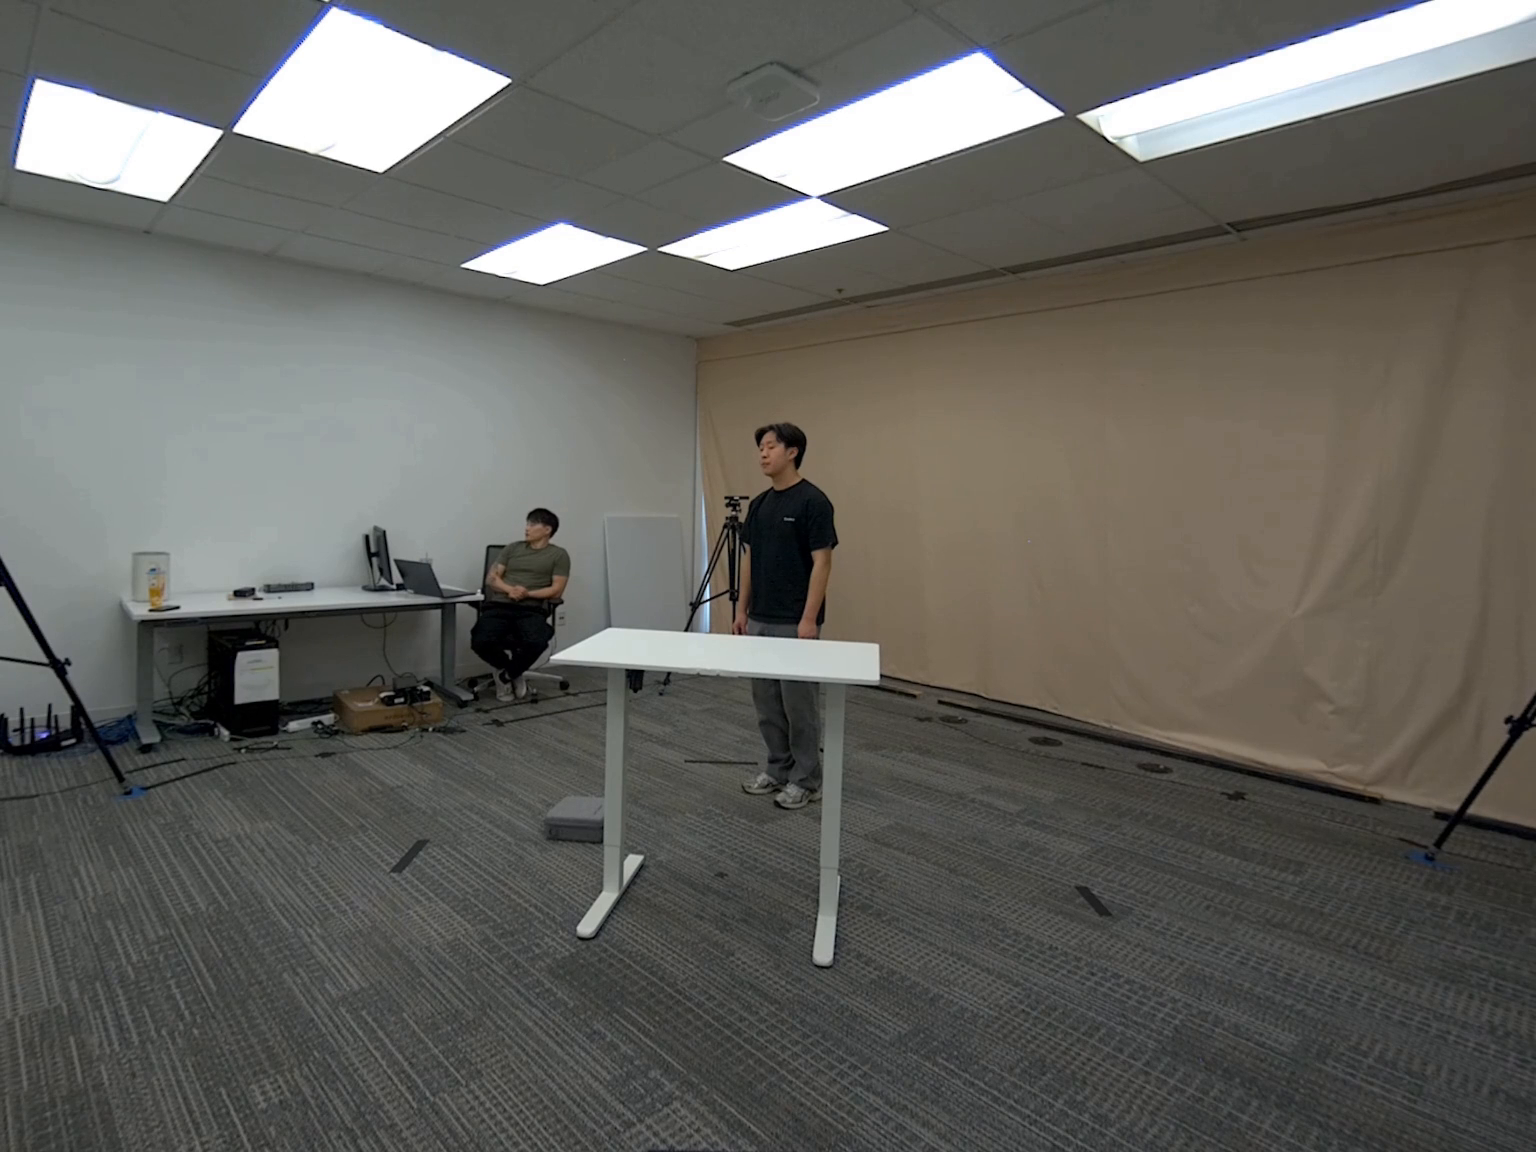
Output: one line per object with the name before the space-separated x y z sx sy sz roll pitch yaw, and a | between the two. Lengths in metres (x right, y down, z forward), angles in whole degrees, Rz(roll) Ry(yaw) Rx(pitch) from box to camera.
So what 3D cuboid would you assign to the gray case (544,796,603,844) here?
gray case | -0.786 1.000 3.484 0.289 0.102 0.262 2 6 9
